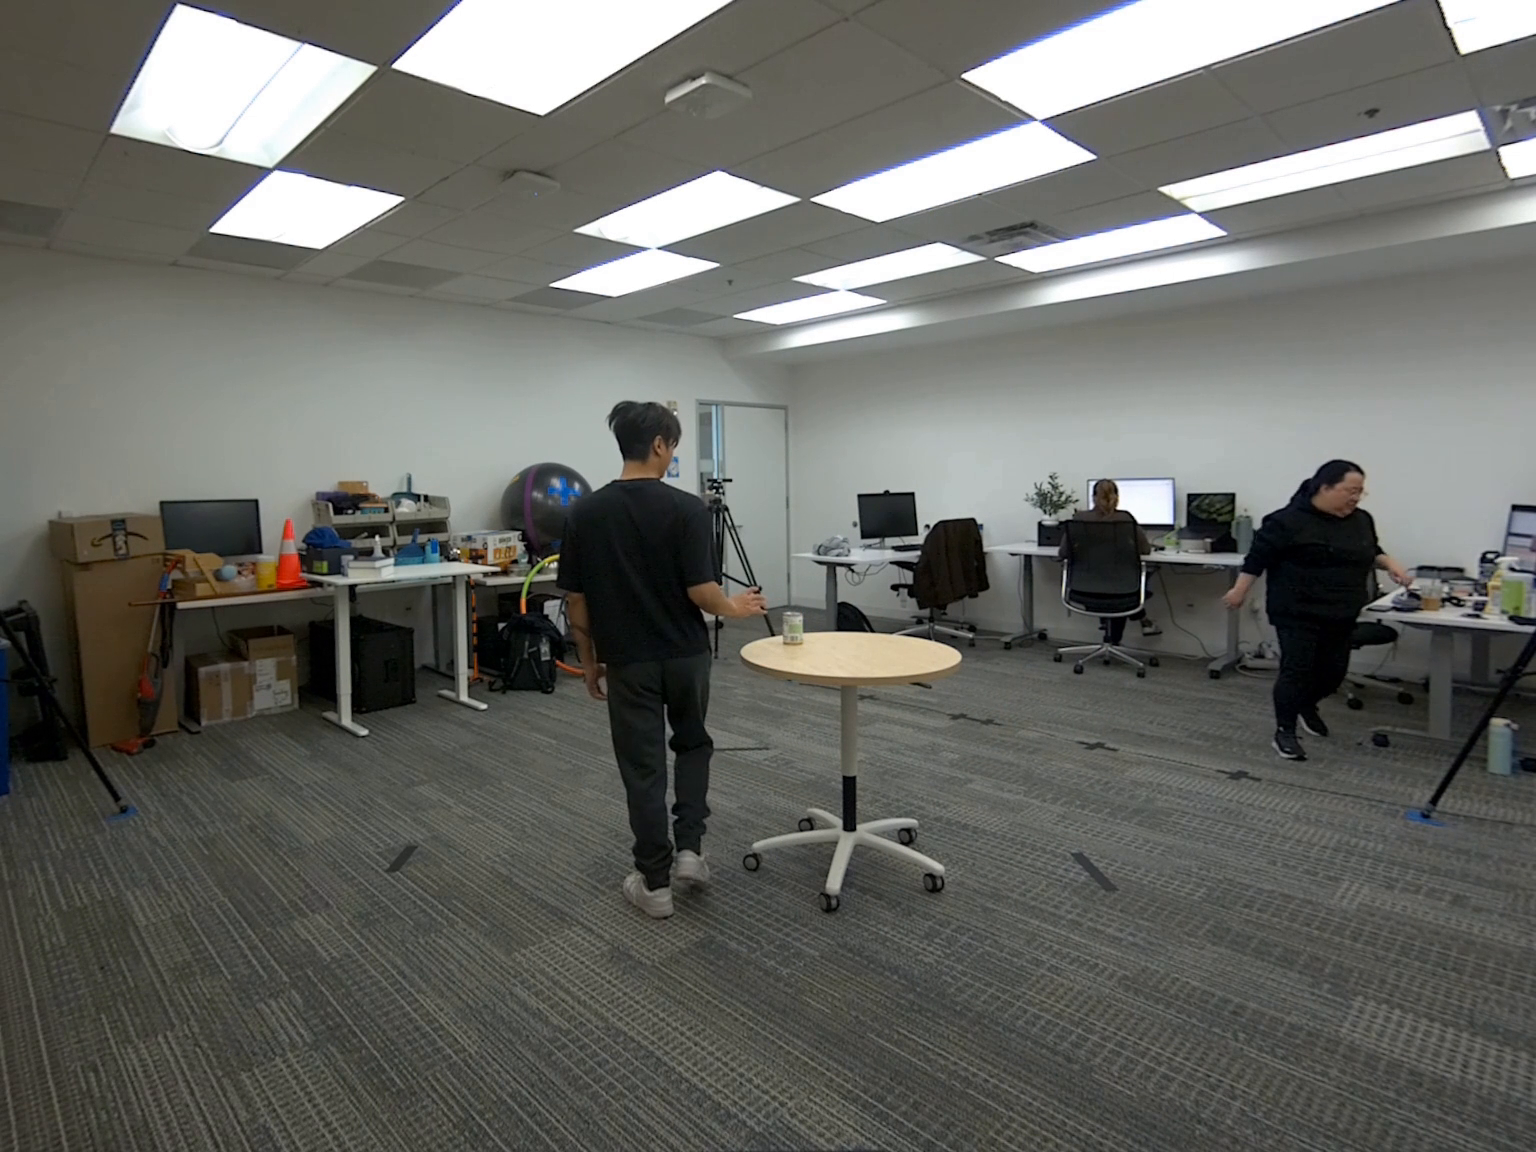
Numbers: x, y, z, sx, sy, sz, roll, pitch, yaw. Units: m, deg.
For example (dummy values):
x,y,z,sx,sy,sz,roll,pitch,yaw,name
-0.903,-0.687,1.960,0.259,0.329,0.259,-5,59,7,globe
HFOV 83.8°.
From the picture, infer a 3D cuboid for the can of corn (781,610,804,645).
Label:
x,y,z,sx,sy,sz,roll,pitch,yaw,name
0.097,0.196,3.164,0.074,0.111,0.074,2,3,-2,can of corn
